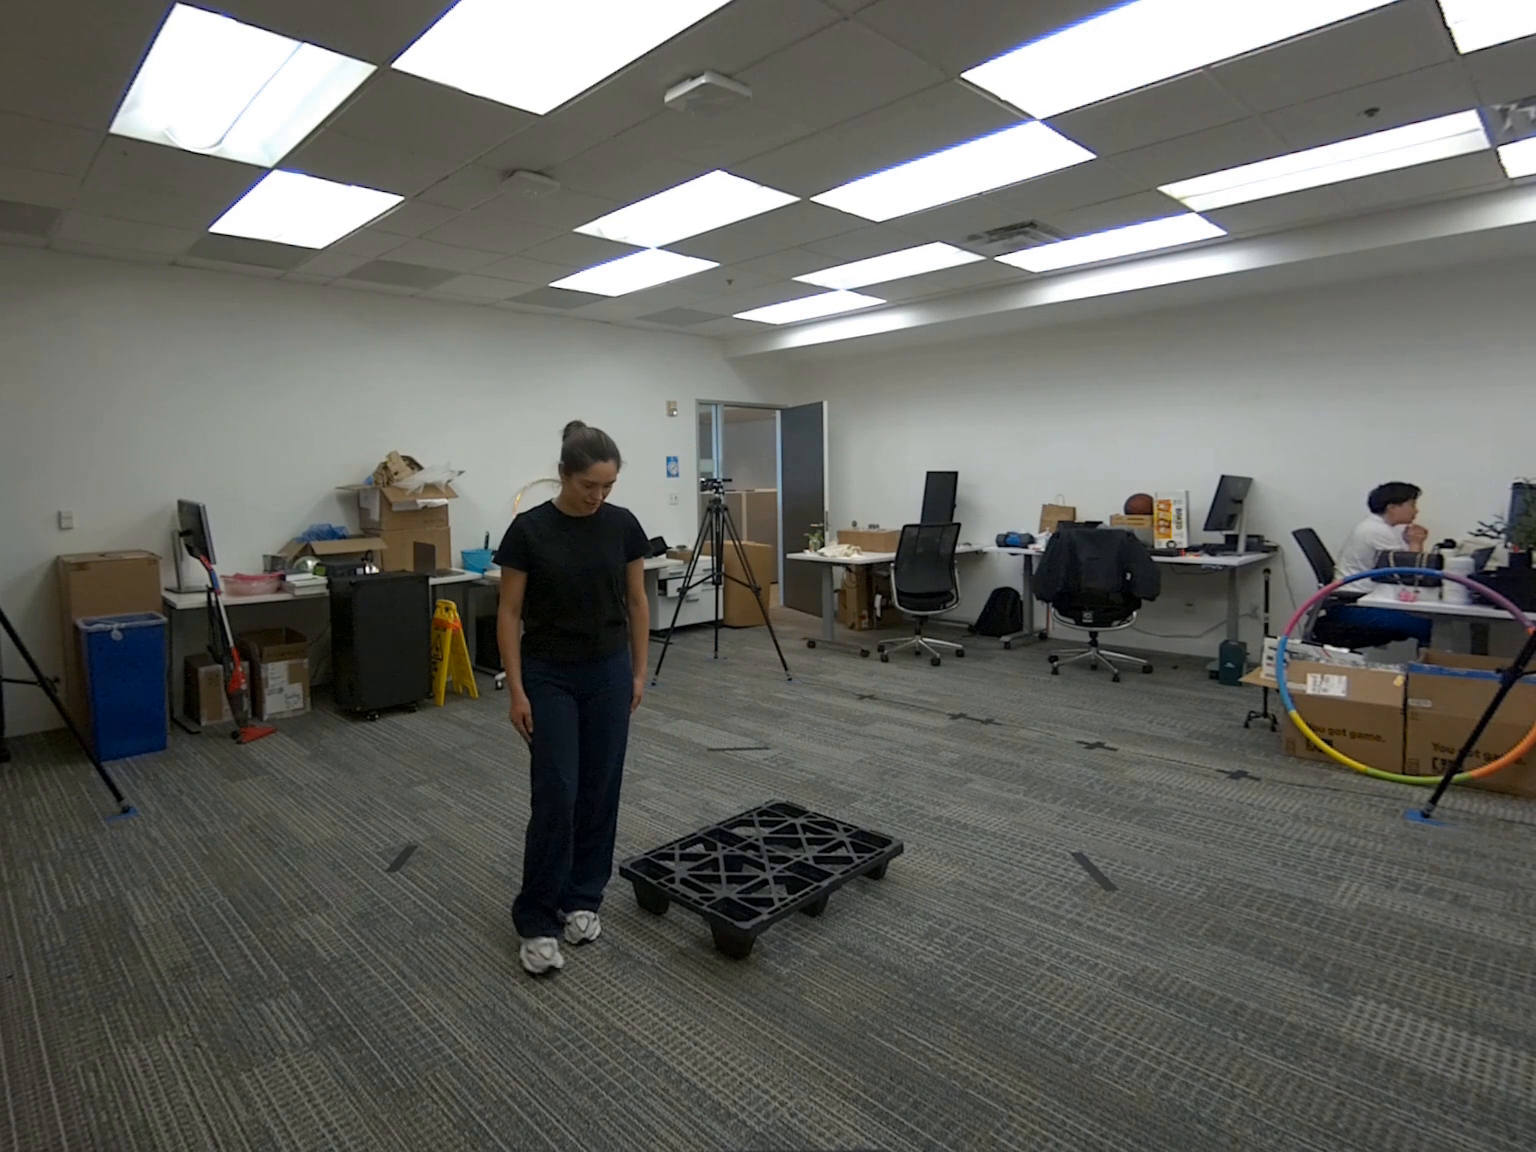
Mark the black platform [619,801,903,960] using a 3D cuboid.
[{"bbox_3d":[-0.001,1.004,2.907,0.624,0.142,0.785,6,10,43],"label":"black platform"}]
